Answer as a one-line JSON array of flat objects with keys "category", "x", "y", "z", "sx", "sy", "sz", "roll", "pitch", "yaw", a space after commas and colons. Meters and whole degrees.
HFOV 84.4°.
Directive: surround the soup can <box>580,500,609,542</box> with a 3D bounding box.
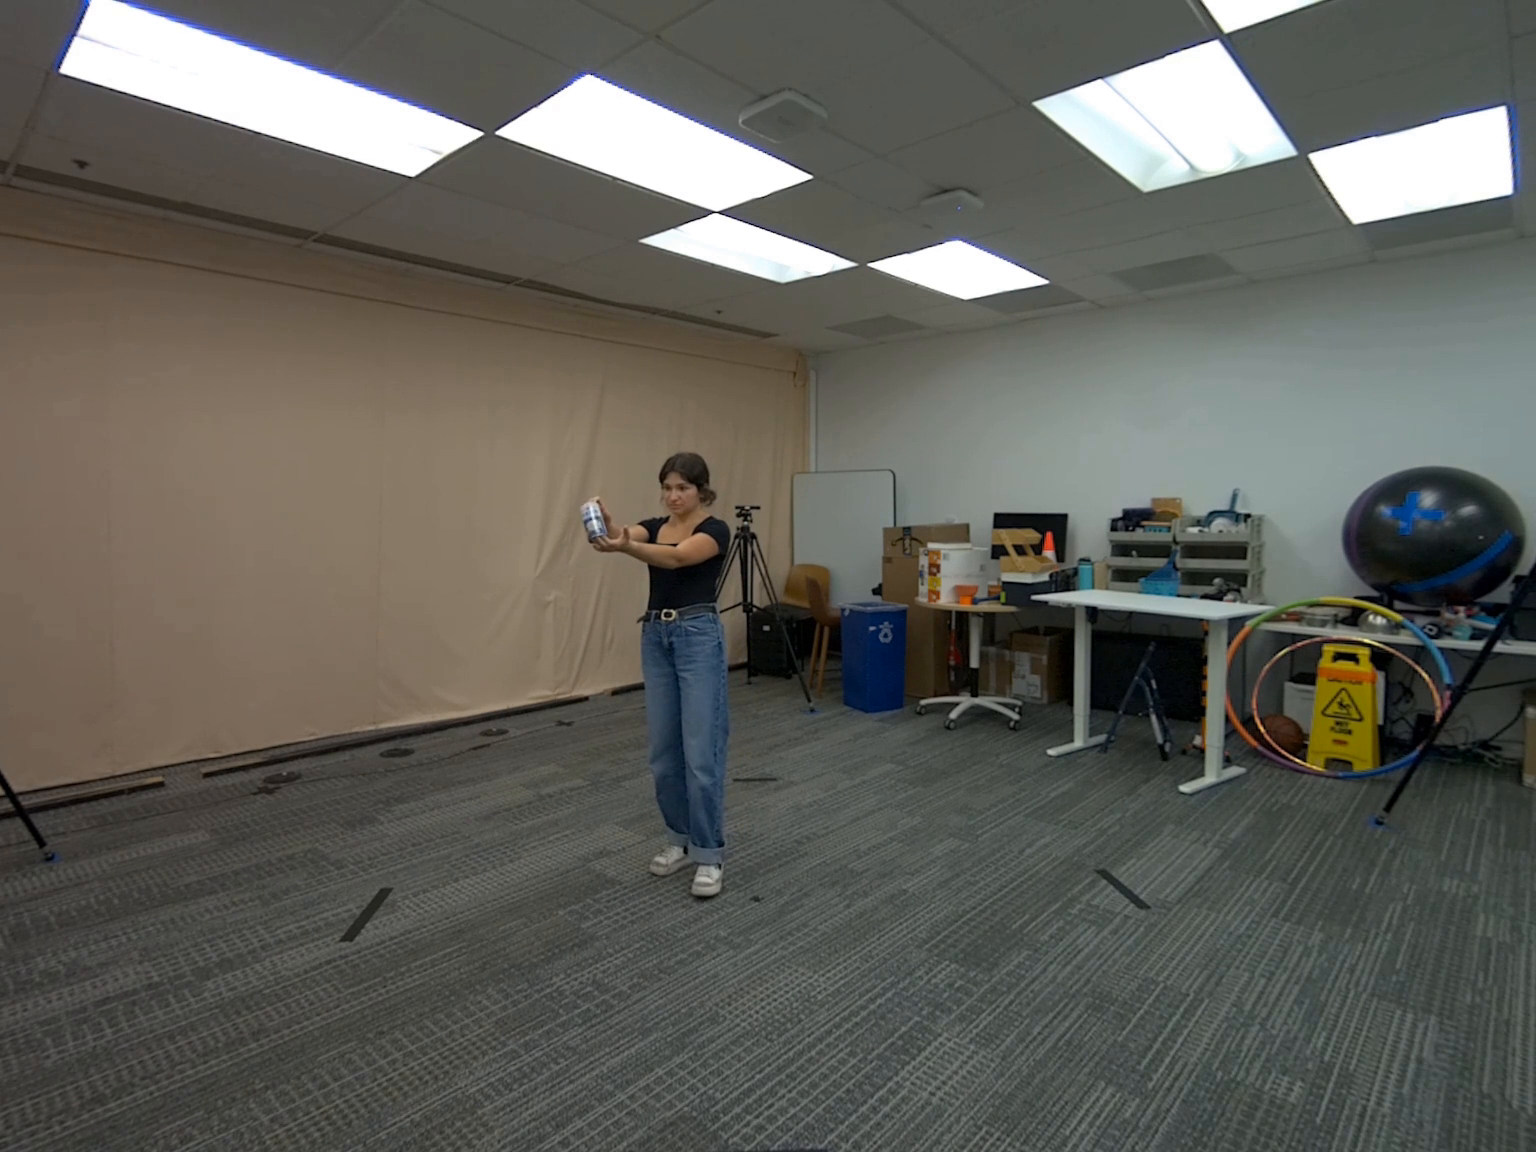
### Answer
[{"category": "soup can", "x": -0.564, "y": -0.175, "z": 2.714, "sx": 0.067, "sy": 0.123, "sz": 0.066, "roll": -9, "pitch": -15, "yaw": -4}]
